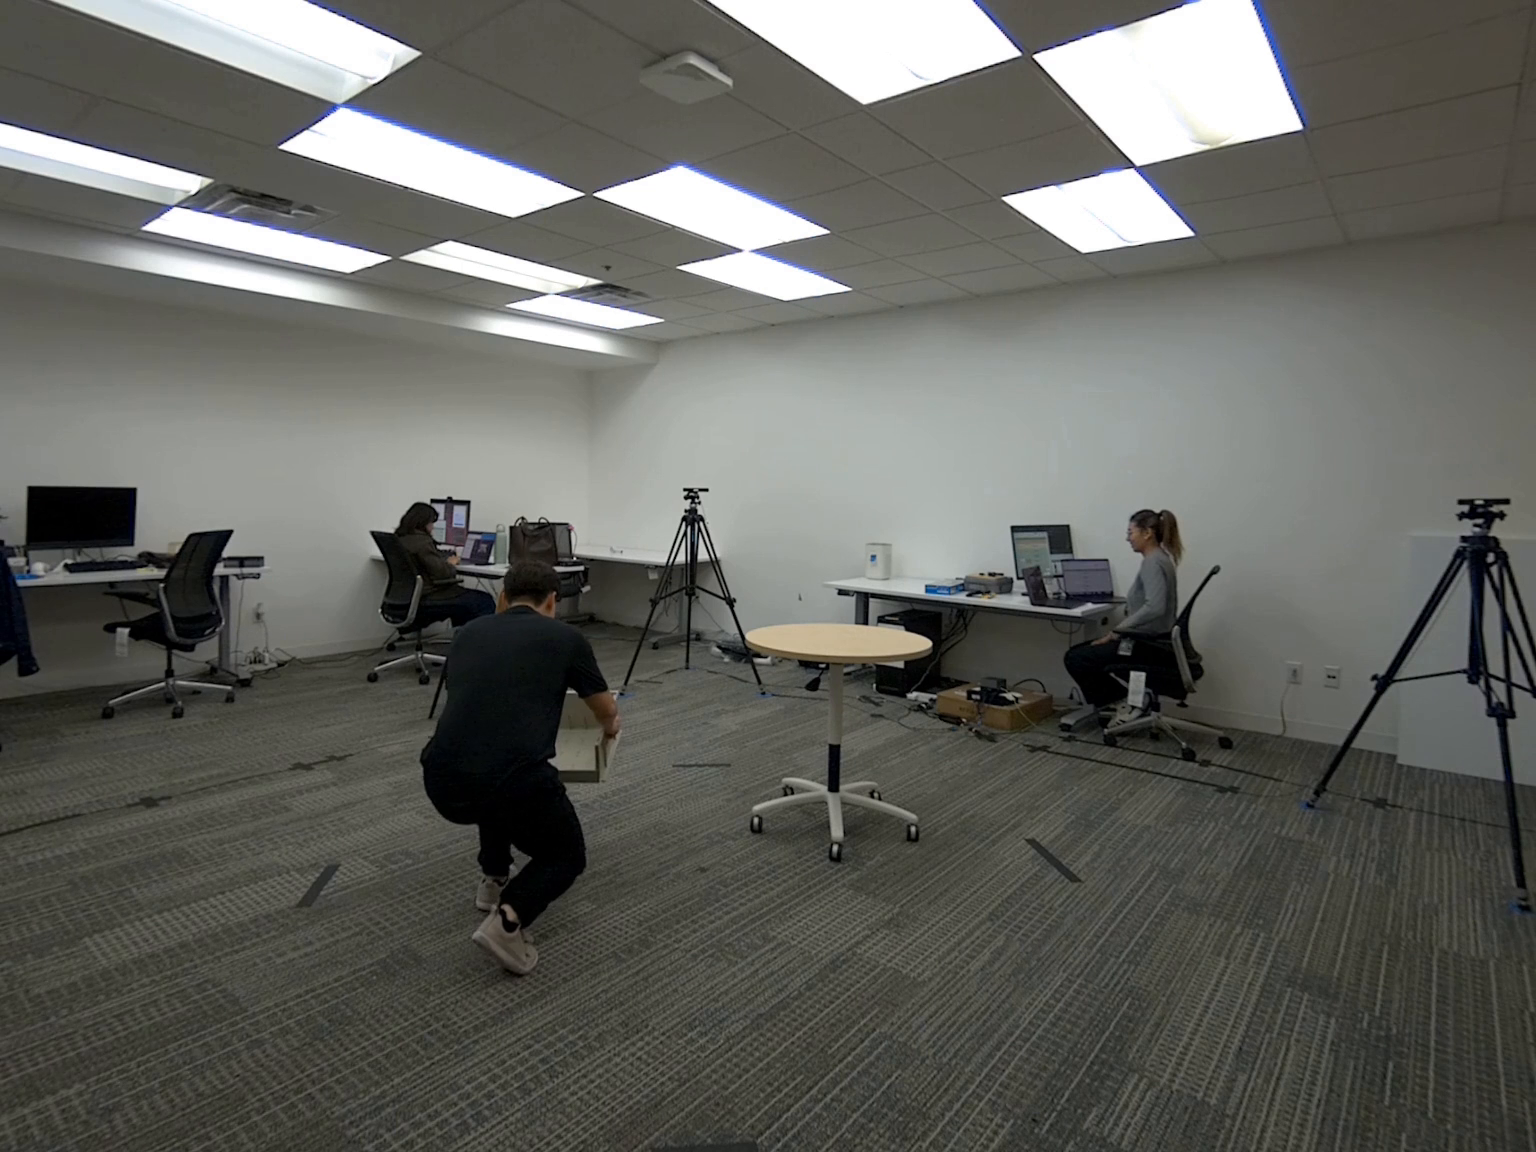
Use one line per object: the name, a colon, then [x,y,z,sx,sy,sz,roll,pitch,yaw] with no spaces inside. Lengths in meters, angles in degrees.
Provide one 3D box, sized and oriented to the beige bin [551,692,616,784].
beige bin: [-0.810,0.618,3.220,0.425,0.185,0.382,-3,21,6]
